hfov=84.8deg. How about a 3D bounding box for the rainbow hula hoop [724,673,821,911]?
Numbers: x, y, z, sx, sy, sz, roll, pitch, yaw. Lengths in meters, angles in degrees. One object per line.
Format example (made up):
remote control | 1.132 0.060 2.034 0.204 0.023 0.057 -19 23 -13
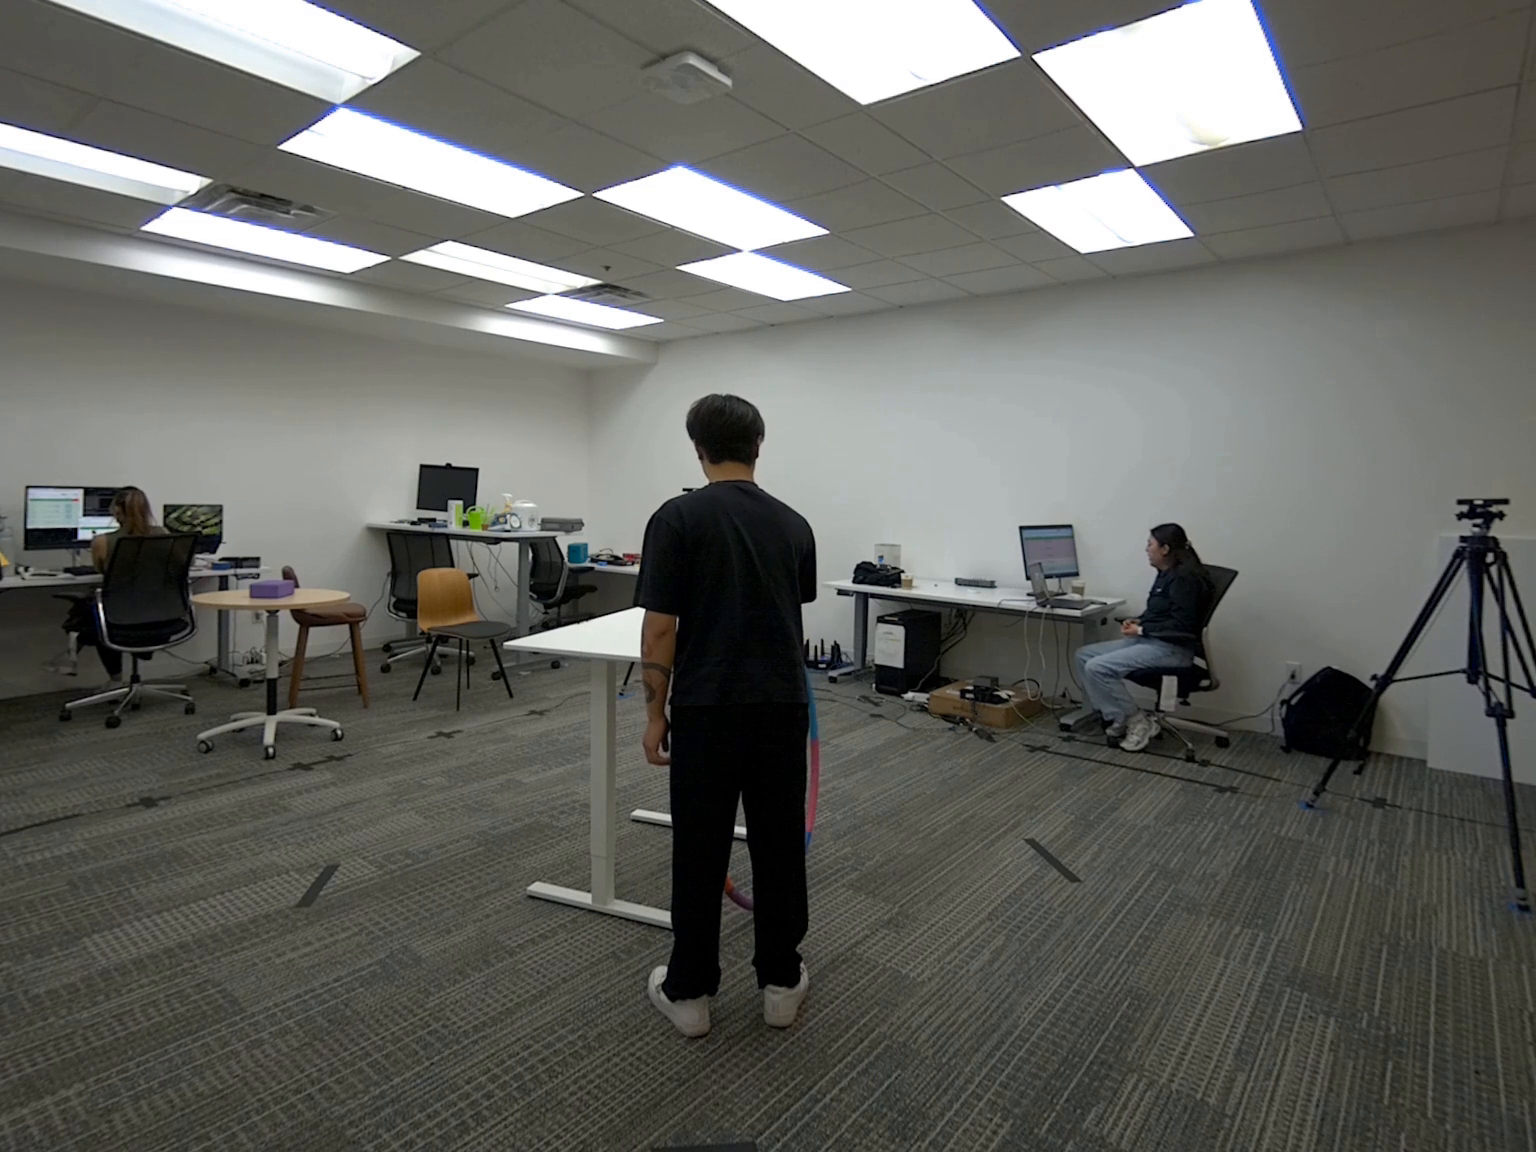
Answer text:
rainbow hula hoop | -0.015 0.617 2.919 0.036 0.979 0.958 -7 0 23
